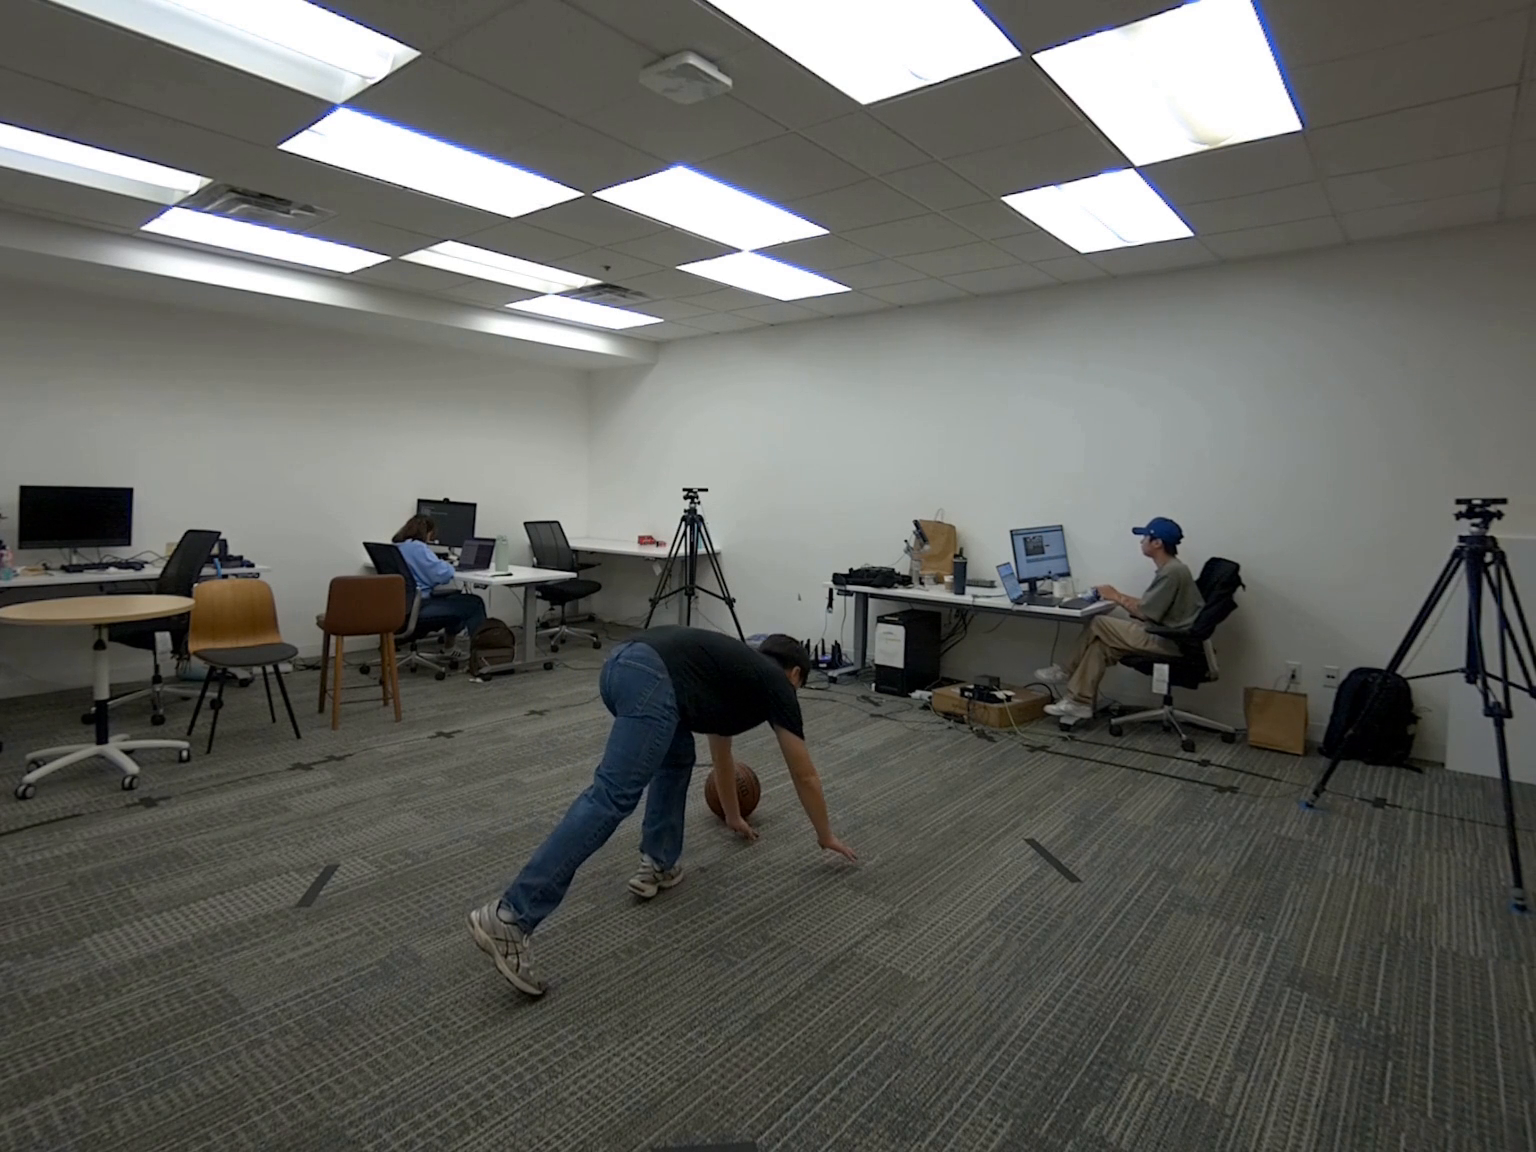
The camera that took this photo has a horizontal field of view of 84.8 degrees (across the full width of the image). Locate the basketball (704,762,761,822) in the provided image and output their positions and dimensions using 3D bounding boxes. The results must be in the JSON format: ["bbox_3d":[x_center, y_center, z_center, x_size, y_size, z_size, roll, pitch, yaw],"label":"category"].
[{"bbox_3d":[-0.157,0.900,3.600,0.235,0.235,0.237,1,4,-2],"label":"basketball"}]
